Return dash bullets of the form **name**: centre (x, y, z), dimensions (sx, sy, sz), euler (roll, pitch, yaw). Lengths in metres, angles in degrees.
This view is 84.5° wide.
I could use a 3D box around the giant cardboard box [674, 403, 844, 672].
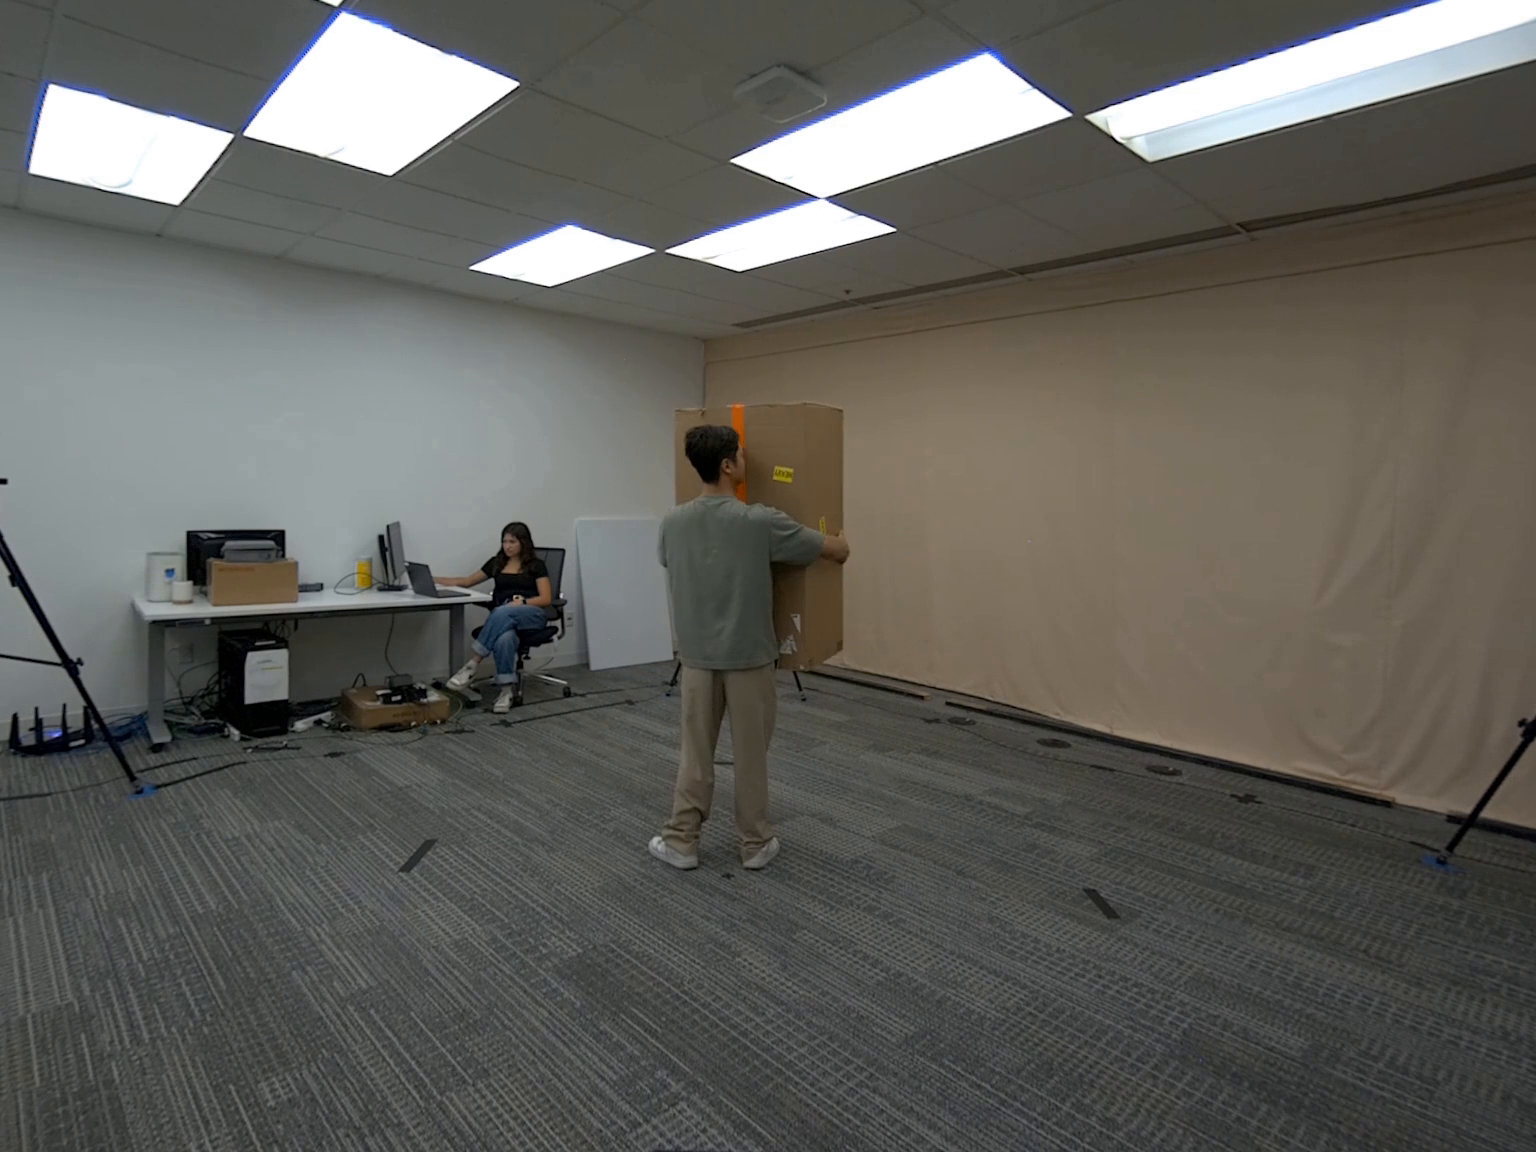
- **giant cardboard box**: centre (-0.035, -0.180, 3.481), dimensions (0.589, 1.022, 0.419), euler (3, 6, 26)
